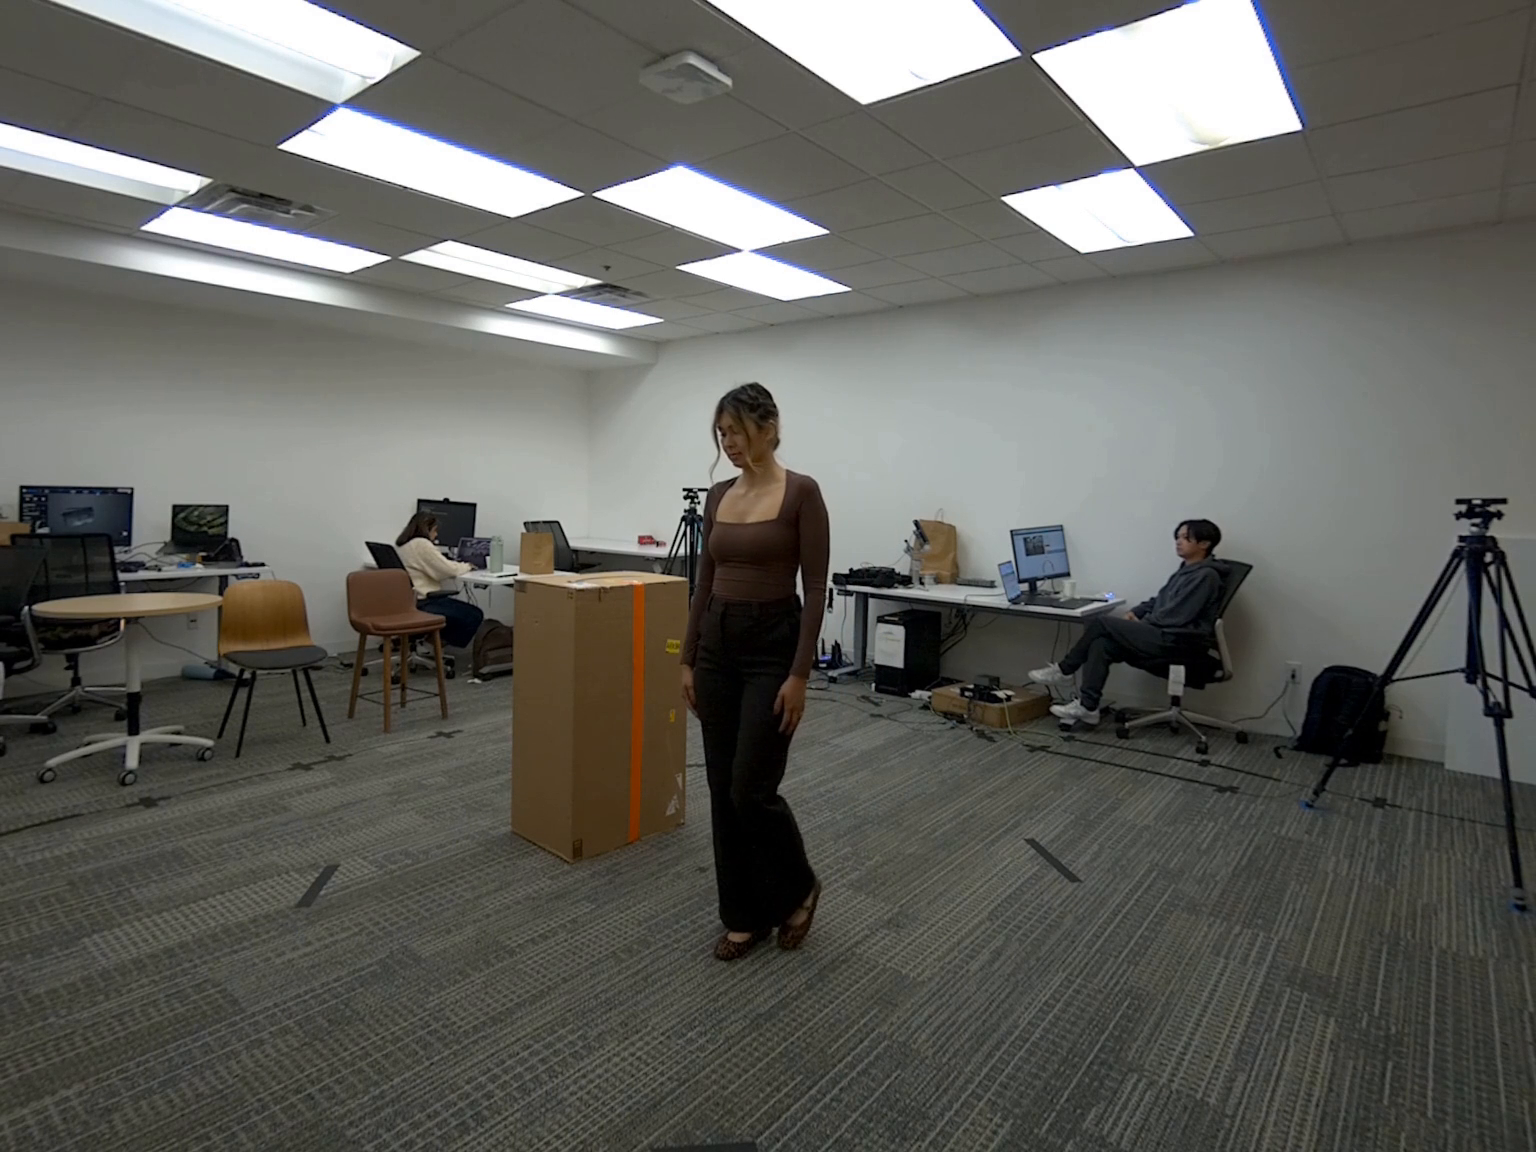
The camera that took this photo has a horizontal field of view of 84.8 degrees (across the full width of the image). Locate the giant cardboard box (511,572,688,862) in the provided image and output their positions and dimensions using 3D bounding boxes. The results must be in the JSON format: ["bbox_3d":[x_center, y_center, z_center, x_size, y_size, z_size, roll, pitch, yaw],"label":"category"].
[{"bbox_3d":[-0.690,0.517,3.455,0.462,1.024,0.566,5,5,44],"label":"giant cardboard box"}]
